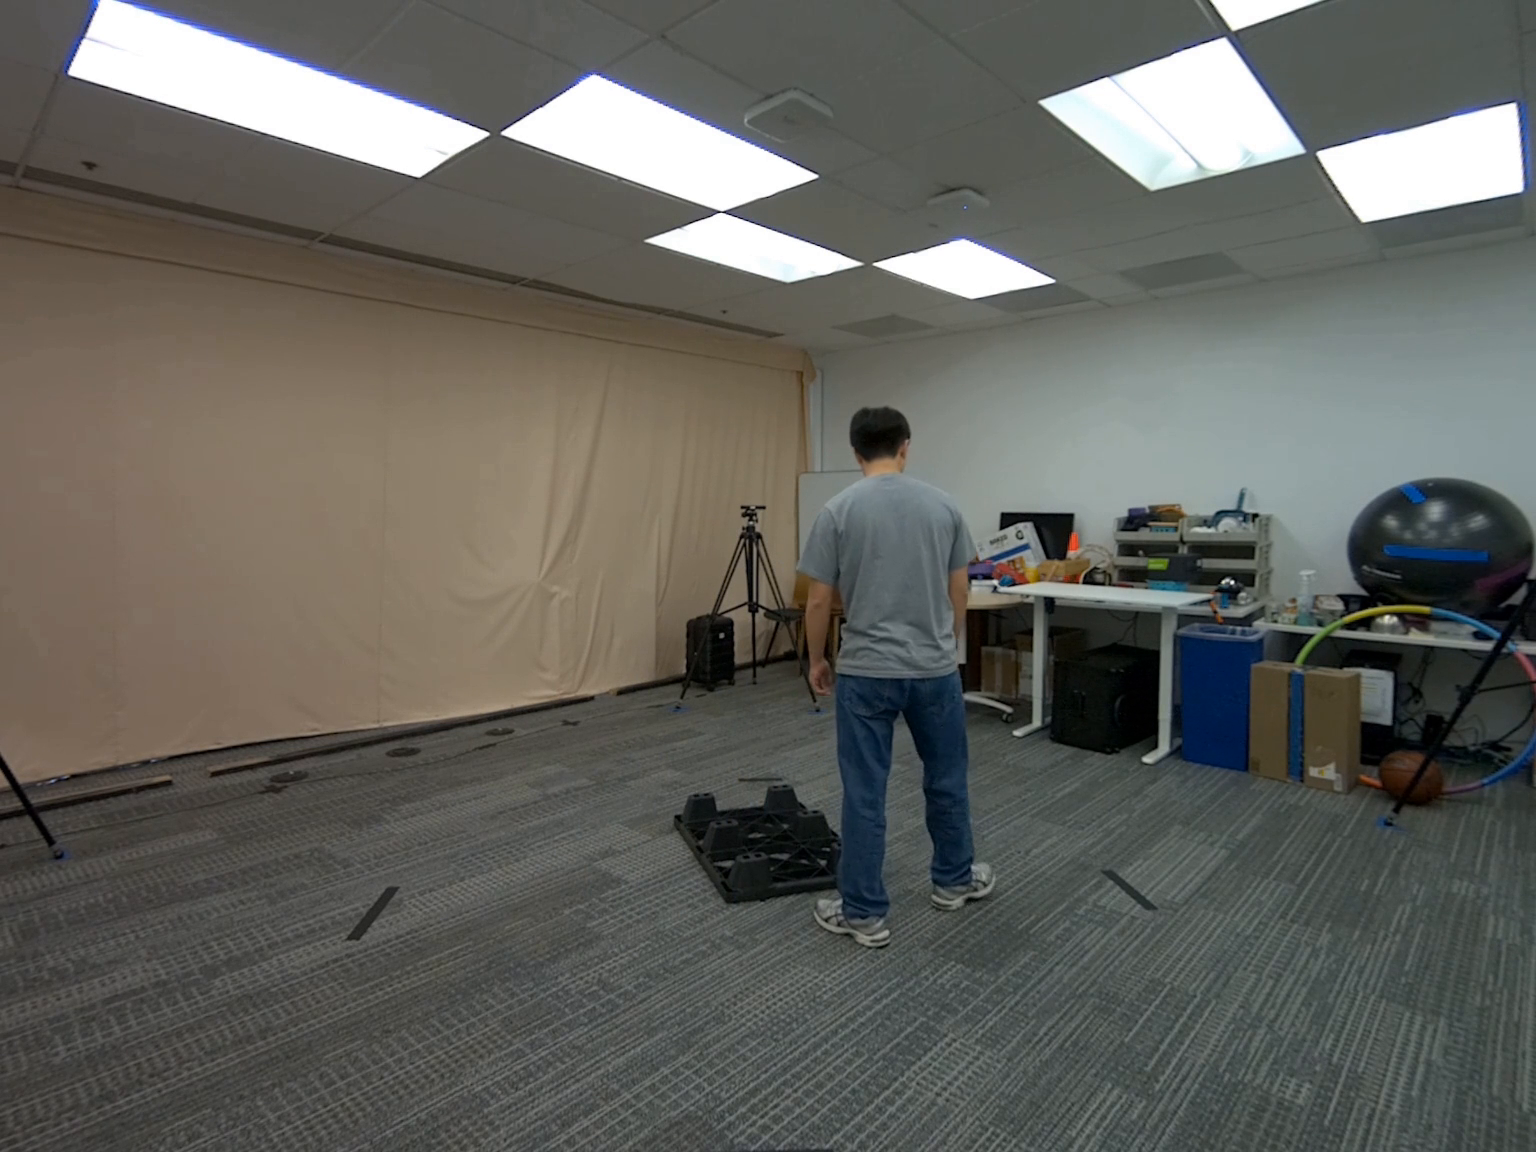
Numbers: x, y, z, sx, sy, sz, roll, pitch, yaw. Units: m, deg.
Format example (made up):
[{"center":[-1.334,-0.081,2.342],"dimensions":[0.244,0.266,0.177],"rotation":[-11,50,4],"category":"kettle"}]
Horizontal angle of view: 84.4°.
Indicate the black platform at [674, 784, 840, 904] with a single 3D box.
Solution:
[{"center":[-0.003,1.040,3.396],"dimensions":[0.594,0.143,0.823],"rotation":[-1,4,-20],"category":"black platform"}]
